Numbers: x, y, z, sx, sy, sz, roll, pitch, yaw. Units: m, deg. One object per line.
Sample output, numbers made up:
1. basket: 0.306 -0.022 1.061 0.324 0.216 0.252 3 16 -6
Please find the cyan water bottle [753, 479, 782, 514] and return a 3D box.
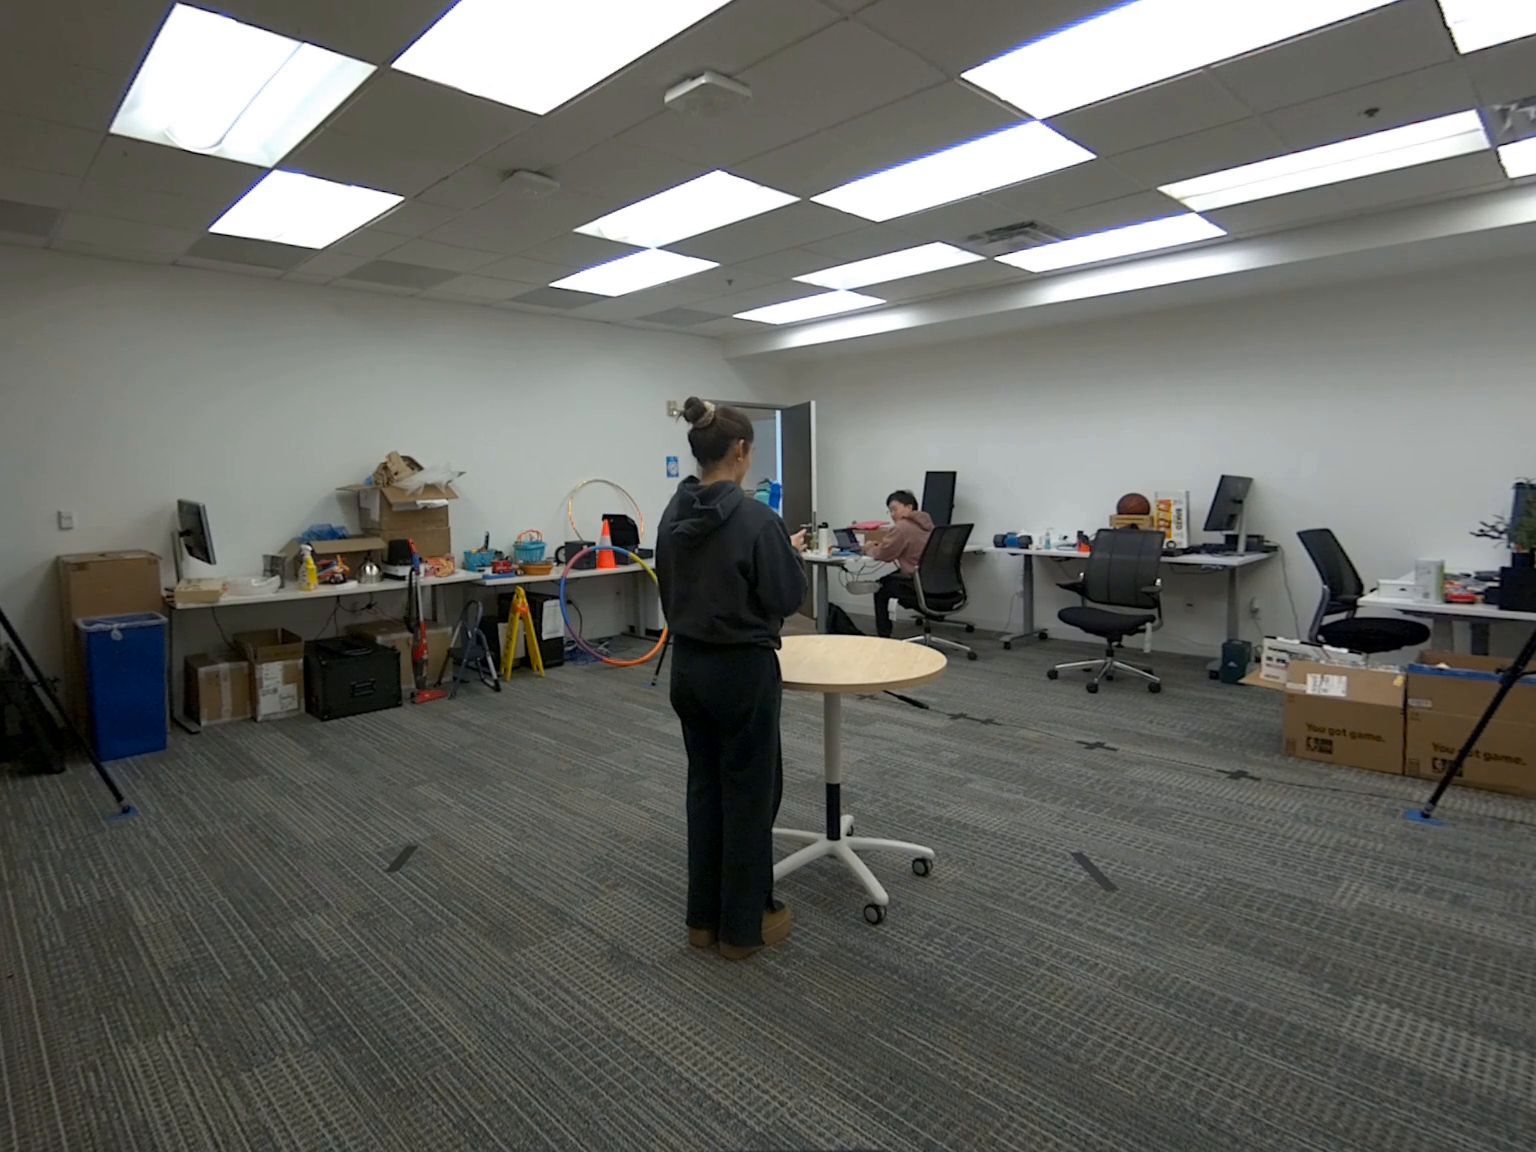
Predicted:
1. cyan water bottle: -0.006 -0.156 2.784 0.092 0.286 0.091 4 -11 -1
